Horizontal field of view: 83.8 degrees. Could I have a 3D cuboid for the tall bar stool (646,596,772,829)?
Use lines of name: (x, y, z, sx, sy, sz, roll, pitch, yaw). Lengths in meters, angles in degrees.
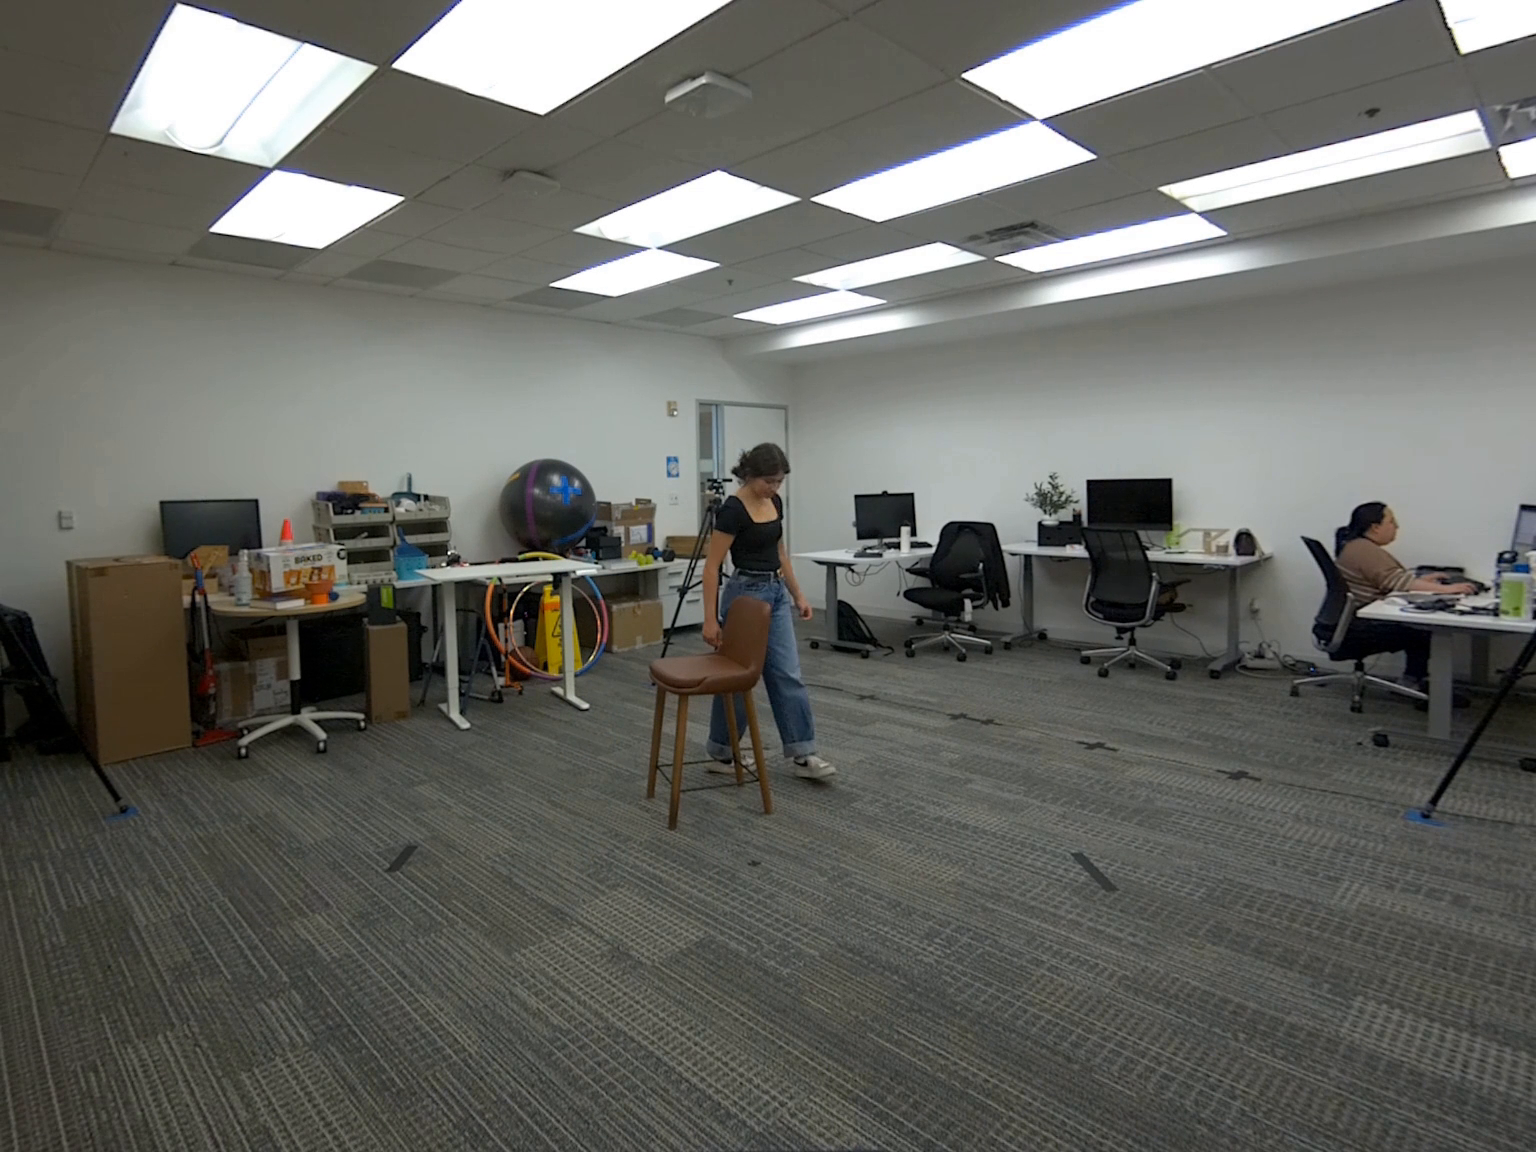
tall bar stool: (-0.259, 0.555, 3.649, 0.459, 0.887, 0.466, -1, 3, -20)
